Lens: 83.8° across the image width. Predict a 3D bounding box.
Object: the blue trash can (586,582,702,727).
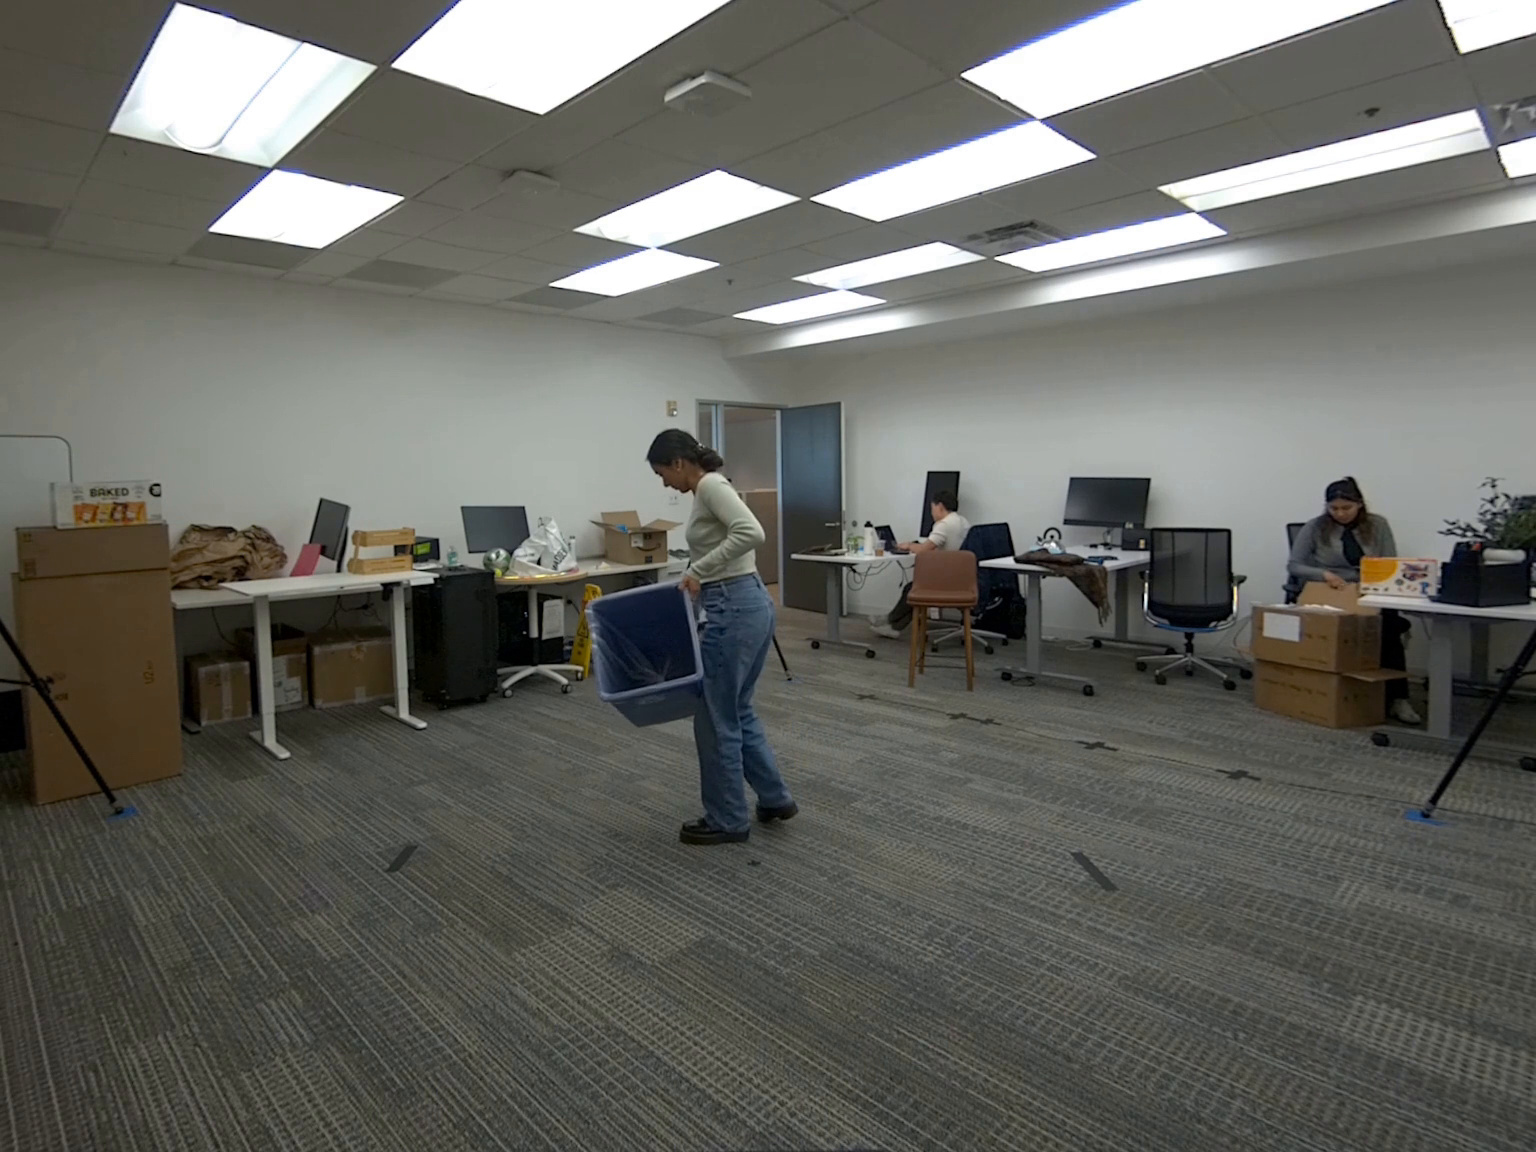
[{"bbox_3d":[-0.432,0.333,3.278,0.373,0.386,0.699,-10,-21,-3],"label":"blue trash can"}]
